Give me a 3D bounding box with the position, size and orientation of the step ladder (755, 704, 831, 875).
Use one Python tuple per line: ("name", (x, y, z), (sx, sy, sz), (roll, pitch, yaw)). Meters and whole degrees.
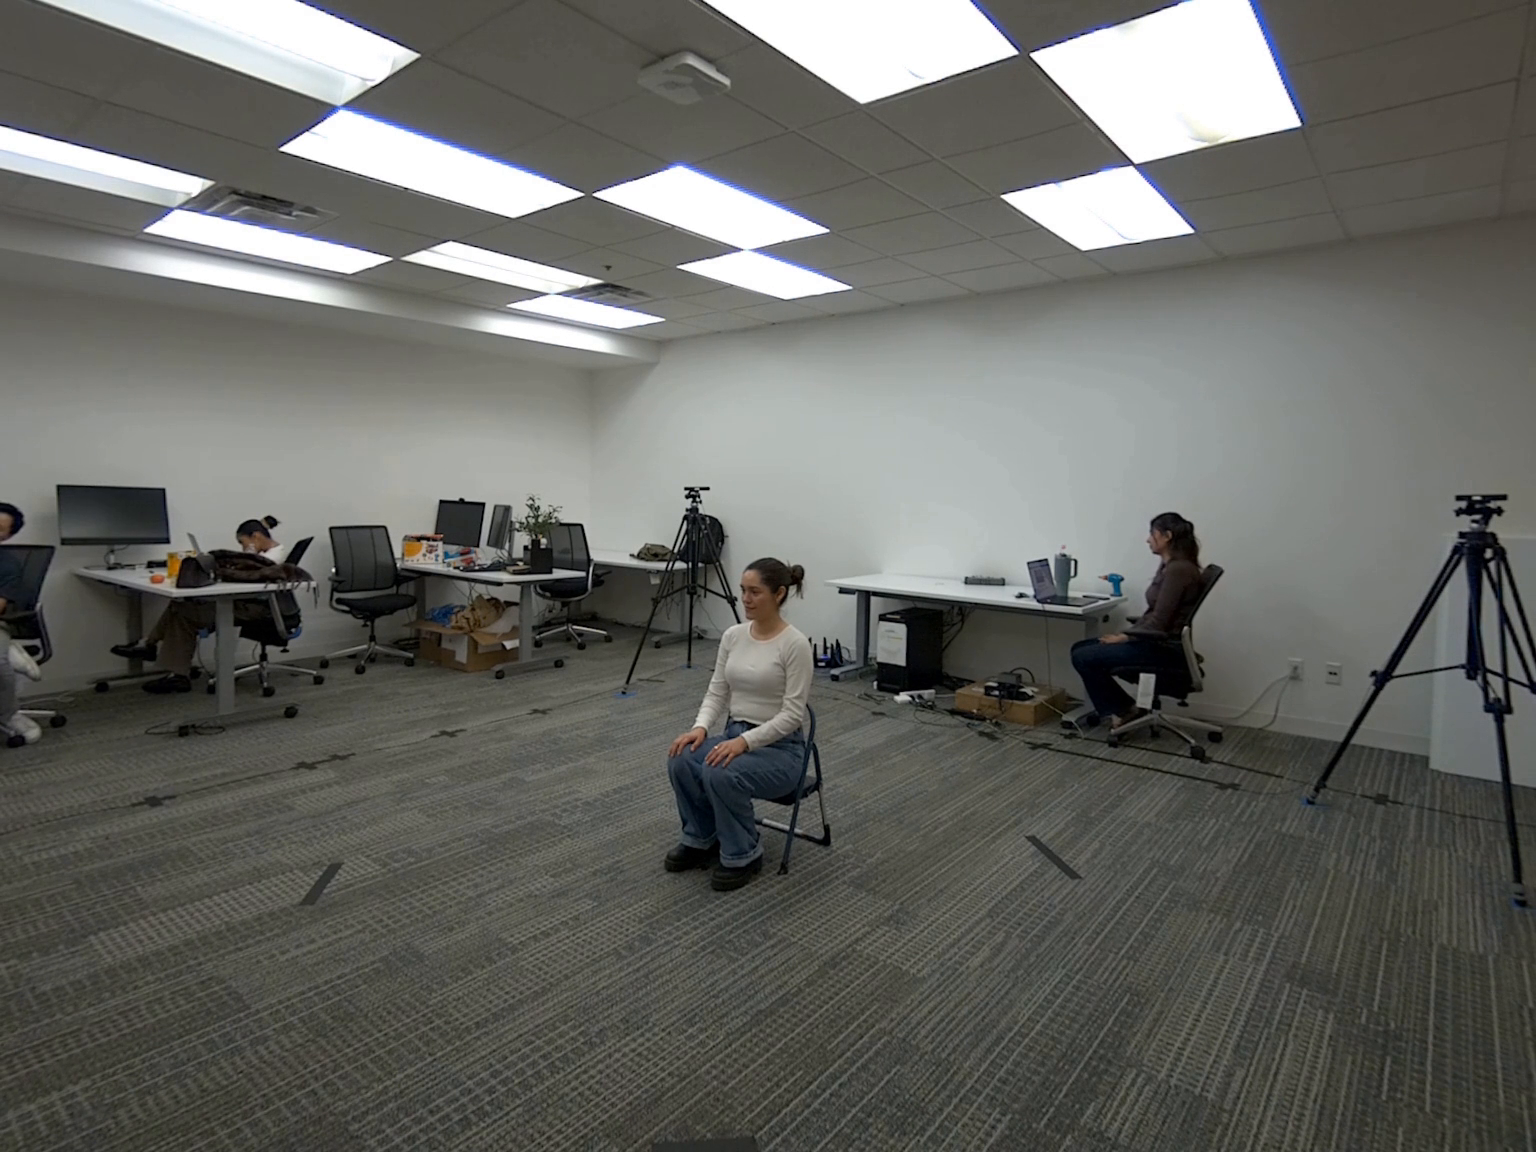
("step ladder", (-0.014, 0.742, 3.317), (0.445, 0.604, 0.339), (4, 4, 37))
